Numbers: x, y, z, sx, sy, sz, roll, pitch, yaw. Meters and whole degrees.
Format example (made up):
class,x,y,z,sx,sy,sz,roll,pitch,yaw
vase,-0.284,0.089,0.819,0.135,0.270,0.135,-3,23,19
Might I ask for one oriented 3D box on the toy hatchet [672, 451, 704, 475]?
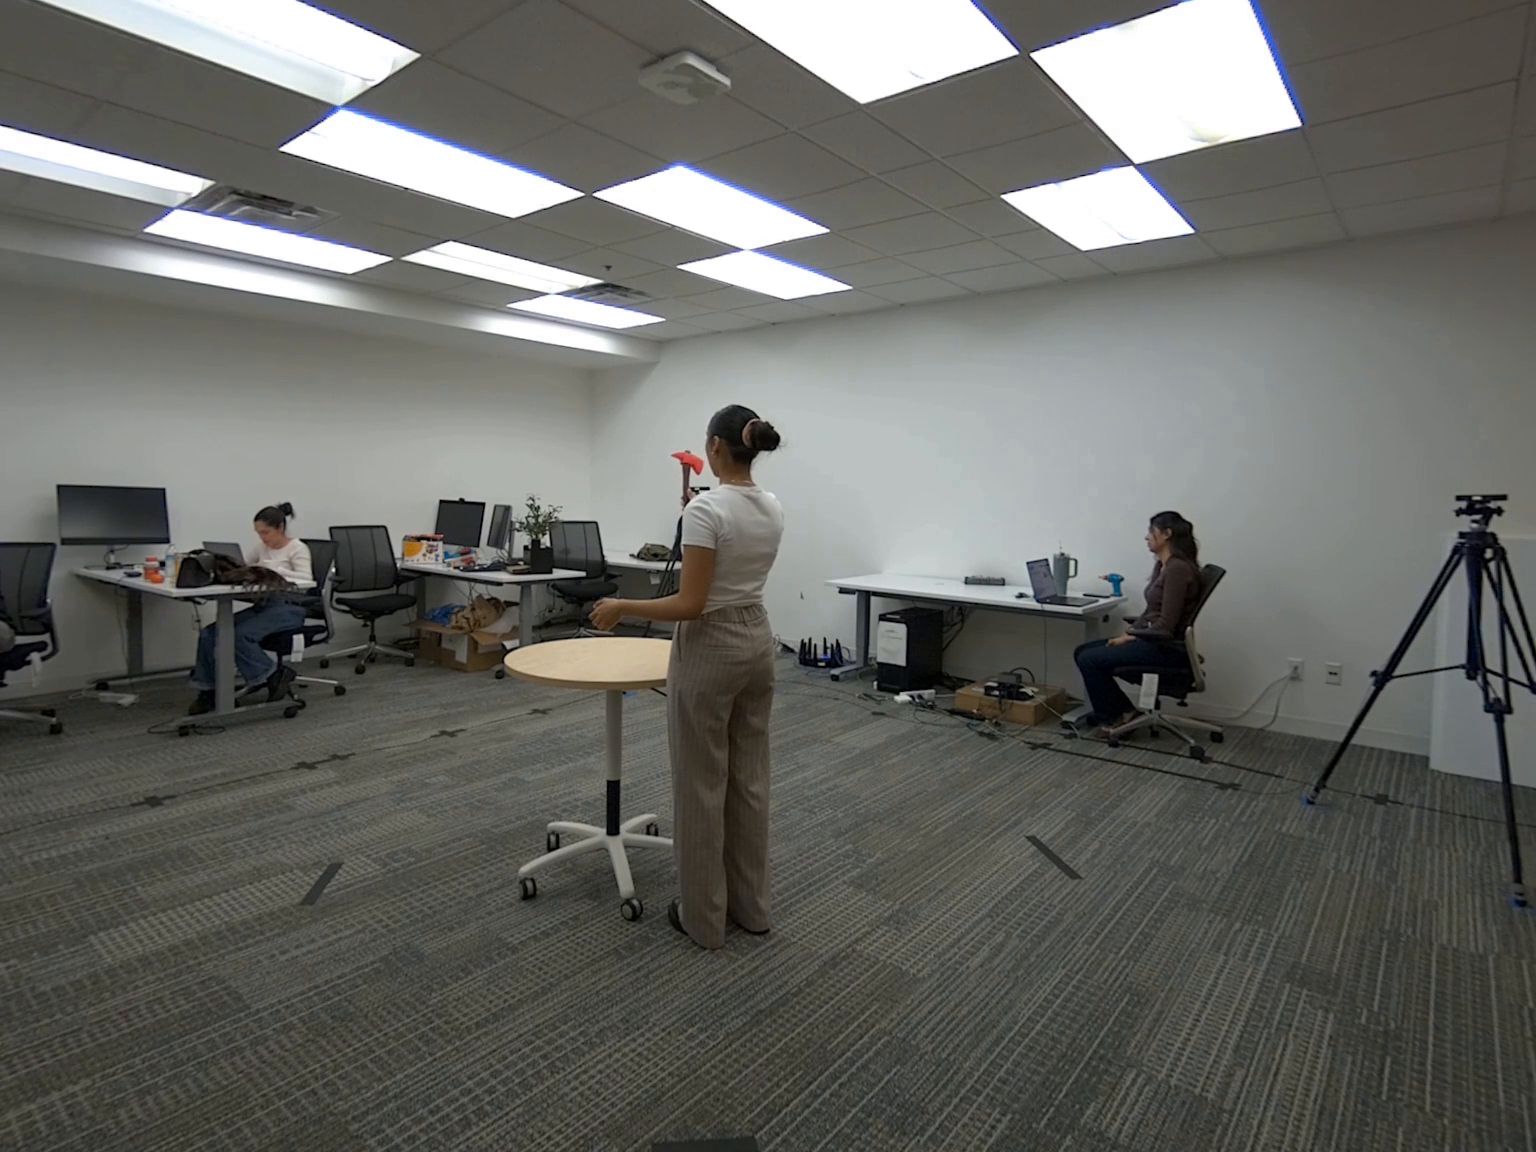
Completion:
class,x,y,z,sx,sy,sz,roll,pitch,yaw
toy hatchet,-0.278,-0.330,3.074,0.127,0.272,0.030,-8,-10,-39
